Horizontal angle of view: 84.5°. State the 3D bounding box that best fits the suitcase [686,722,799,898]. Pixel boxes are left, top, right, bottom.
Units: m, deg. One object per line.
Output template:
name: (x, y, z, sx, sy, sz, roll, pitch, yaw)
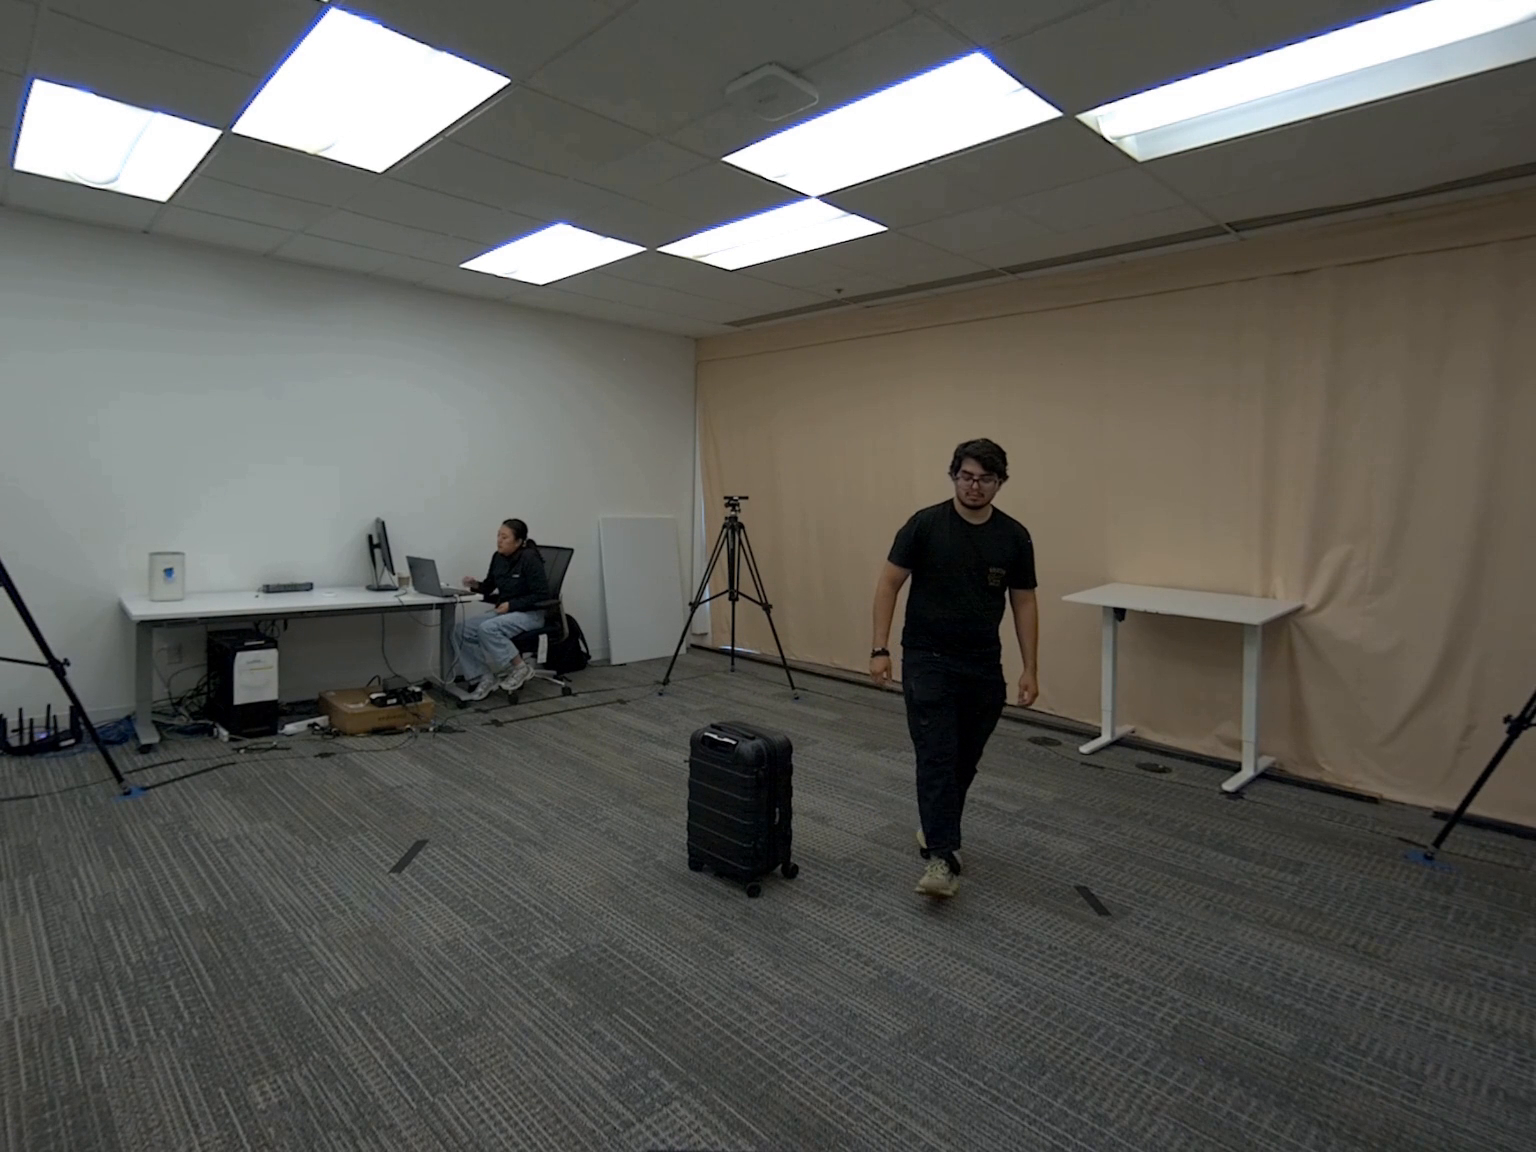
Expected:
suitcase: (-0.109, 0.829, 3.105, 0.385, 0.548, 0.243, 3, 4, 42)
